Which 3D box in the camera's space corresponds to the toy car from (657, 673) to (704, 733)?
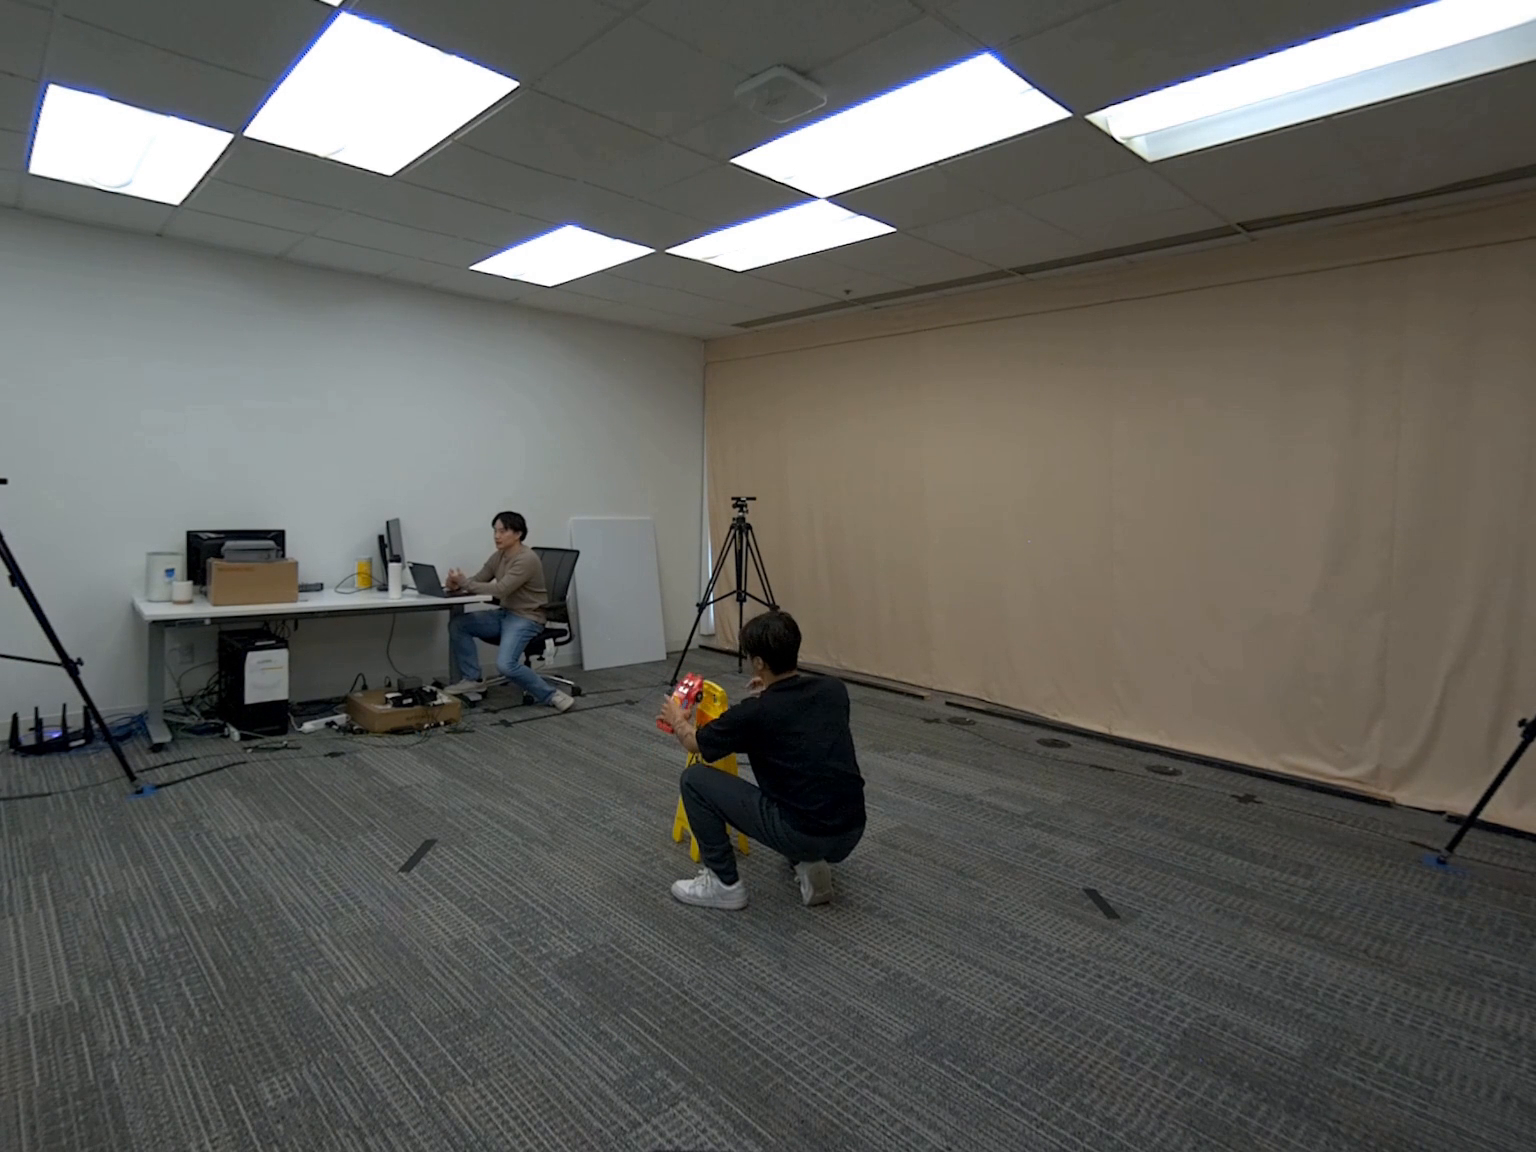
[{"bbox_3d":[-0.342,0.502,3.333,0.134,0.256,0.080,11,-19,38],"label":"toy car"}]
